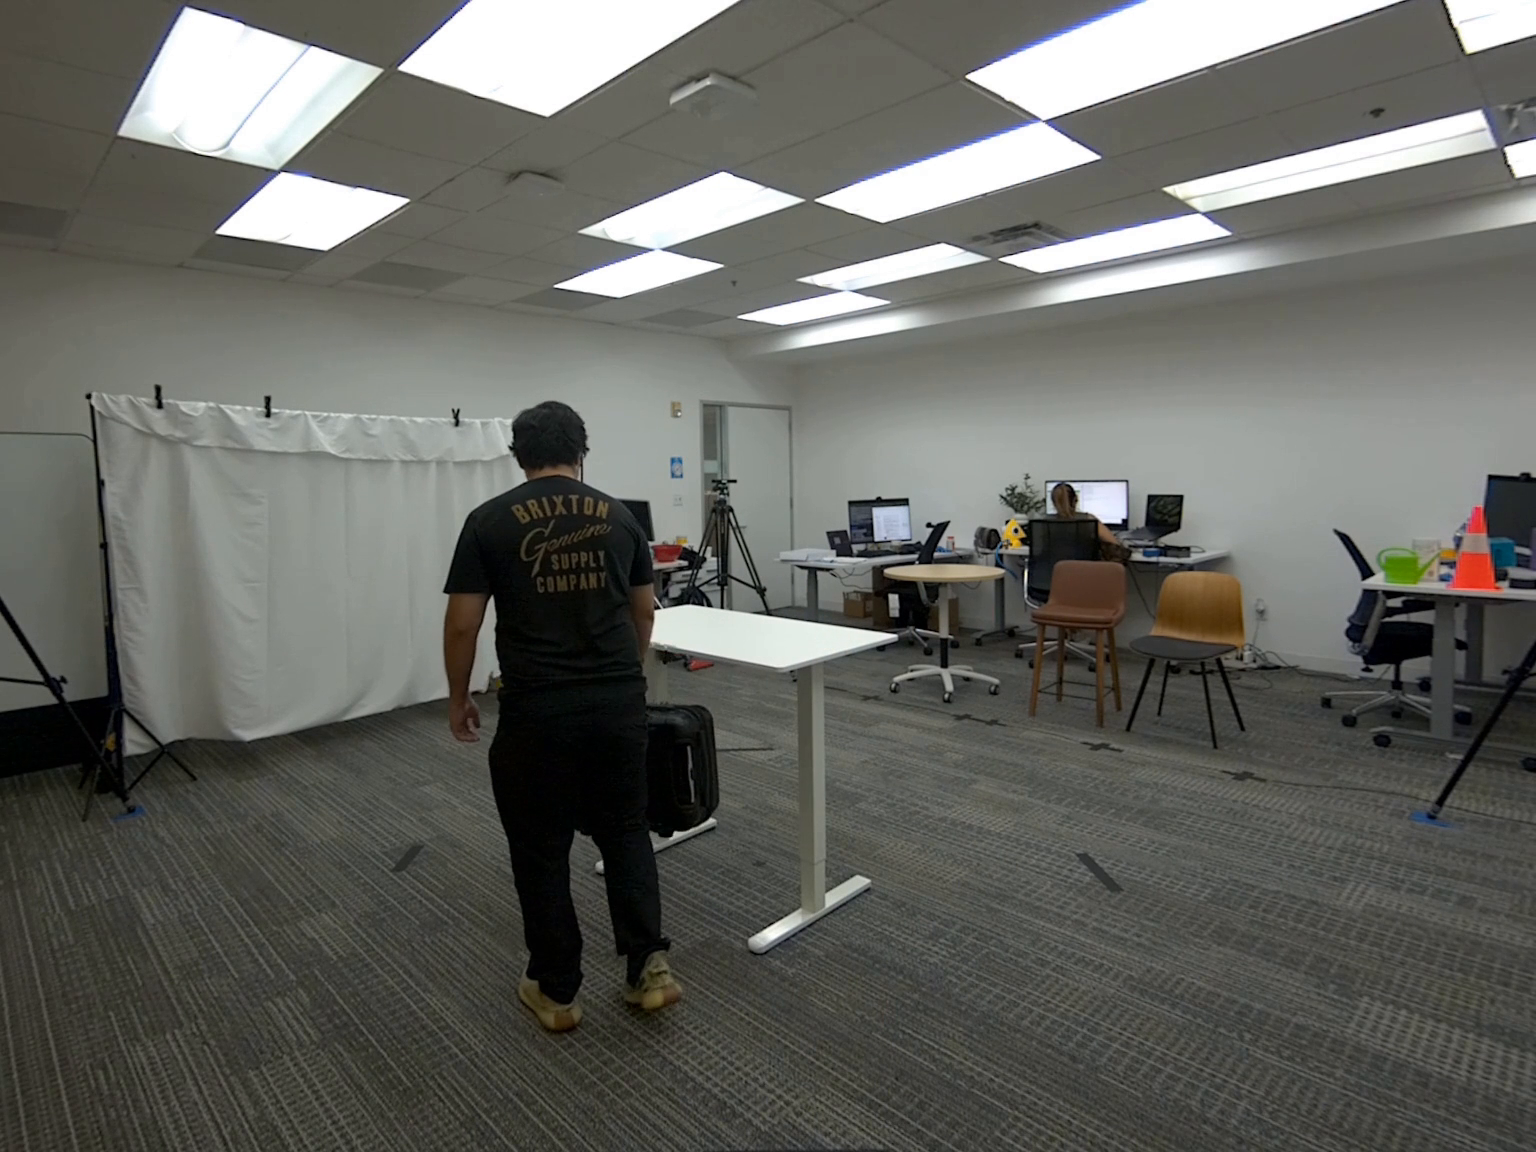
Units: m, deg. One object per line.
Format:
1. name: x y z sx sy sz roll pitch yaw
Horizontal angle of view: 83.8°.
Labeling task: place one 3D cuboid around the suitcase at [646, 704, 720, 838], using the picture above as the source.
1. suitcase: -0.424 0.584 2.611 0.558 0.377 0.243 -7 -4 19
